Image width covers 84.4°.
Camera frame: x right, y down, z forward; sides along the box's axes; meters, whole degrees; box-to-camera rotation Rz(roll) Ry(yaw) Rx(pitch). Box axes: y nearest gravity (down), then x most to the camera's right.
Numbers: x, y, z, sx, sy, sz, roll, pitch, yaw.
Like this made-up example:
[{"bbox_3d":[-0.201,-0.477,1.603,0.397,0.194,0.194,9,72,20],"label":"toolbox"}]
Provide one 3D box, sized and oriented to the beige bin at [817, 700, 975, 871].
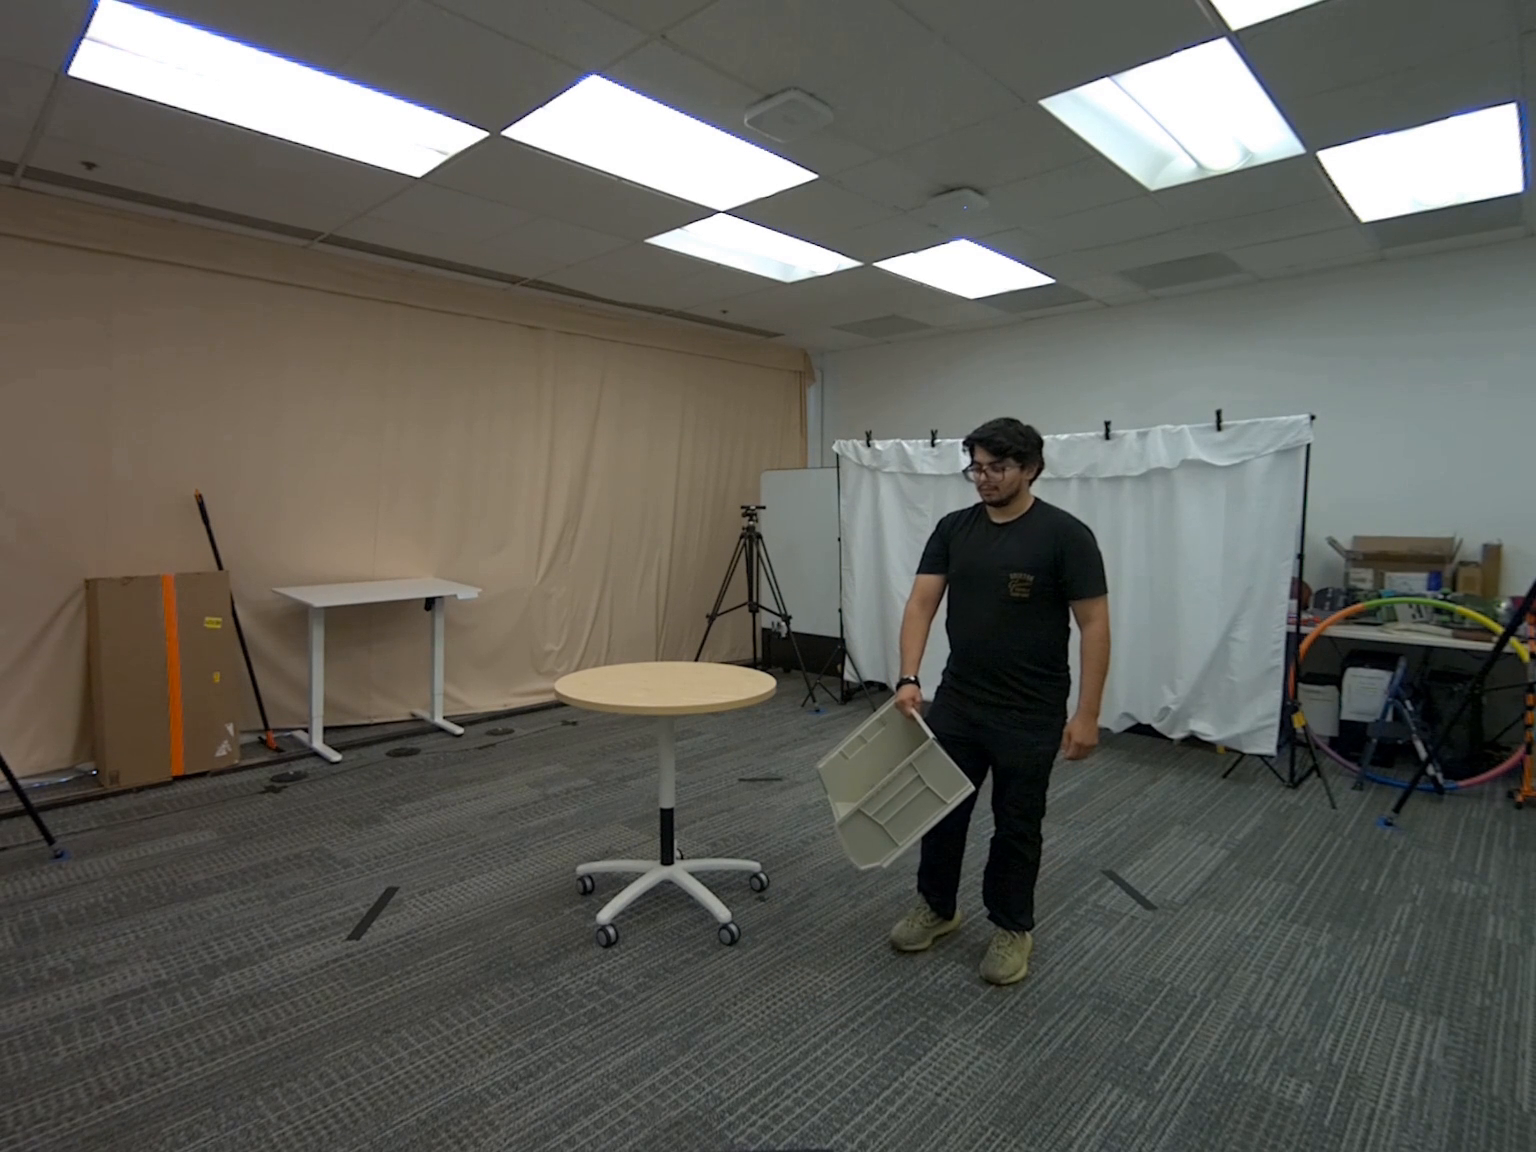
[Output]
[{"bbox_3d":[0.340,0.574,2.338,0.378,0.188,0.424,-42,6,3],"label":"beige bin"}]
